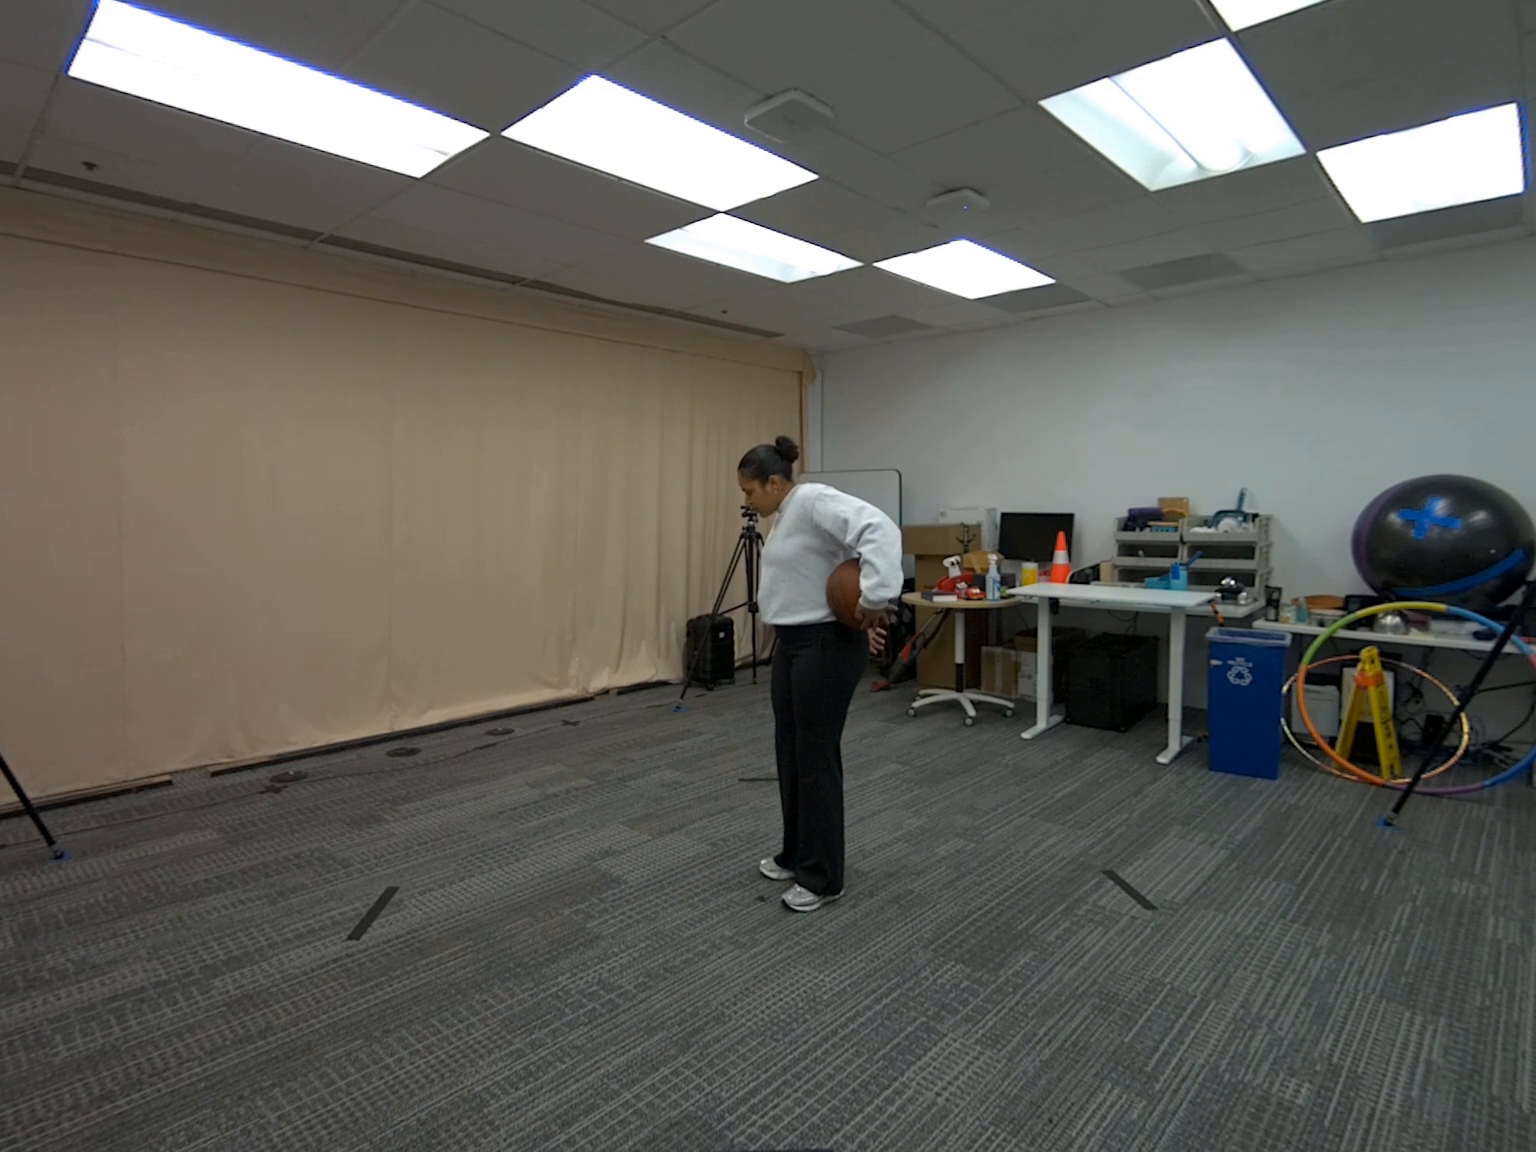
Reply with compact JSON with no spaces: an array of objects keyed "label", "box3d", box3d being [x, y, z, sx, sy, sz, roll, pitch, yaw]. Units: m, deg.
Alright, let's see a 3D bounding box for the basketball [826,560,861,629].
[{"label":"basketball","box3d":[0.315,0.049,2.786,0.236,0.235,0.237,0,4,-2]}]
